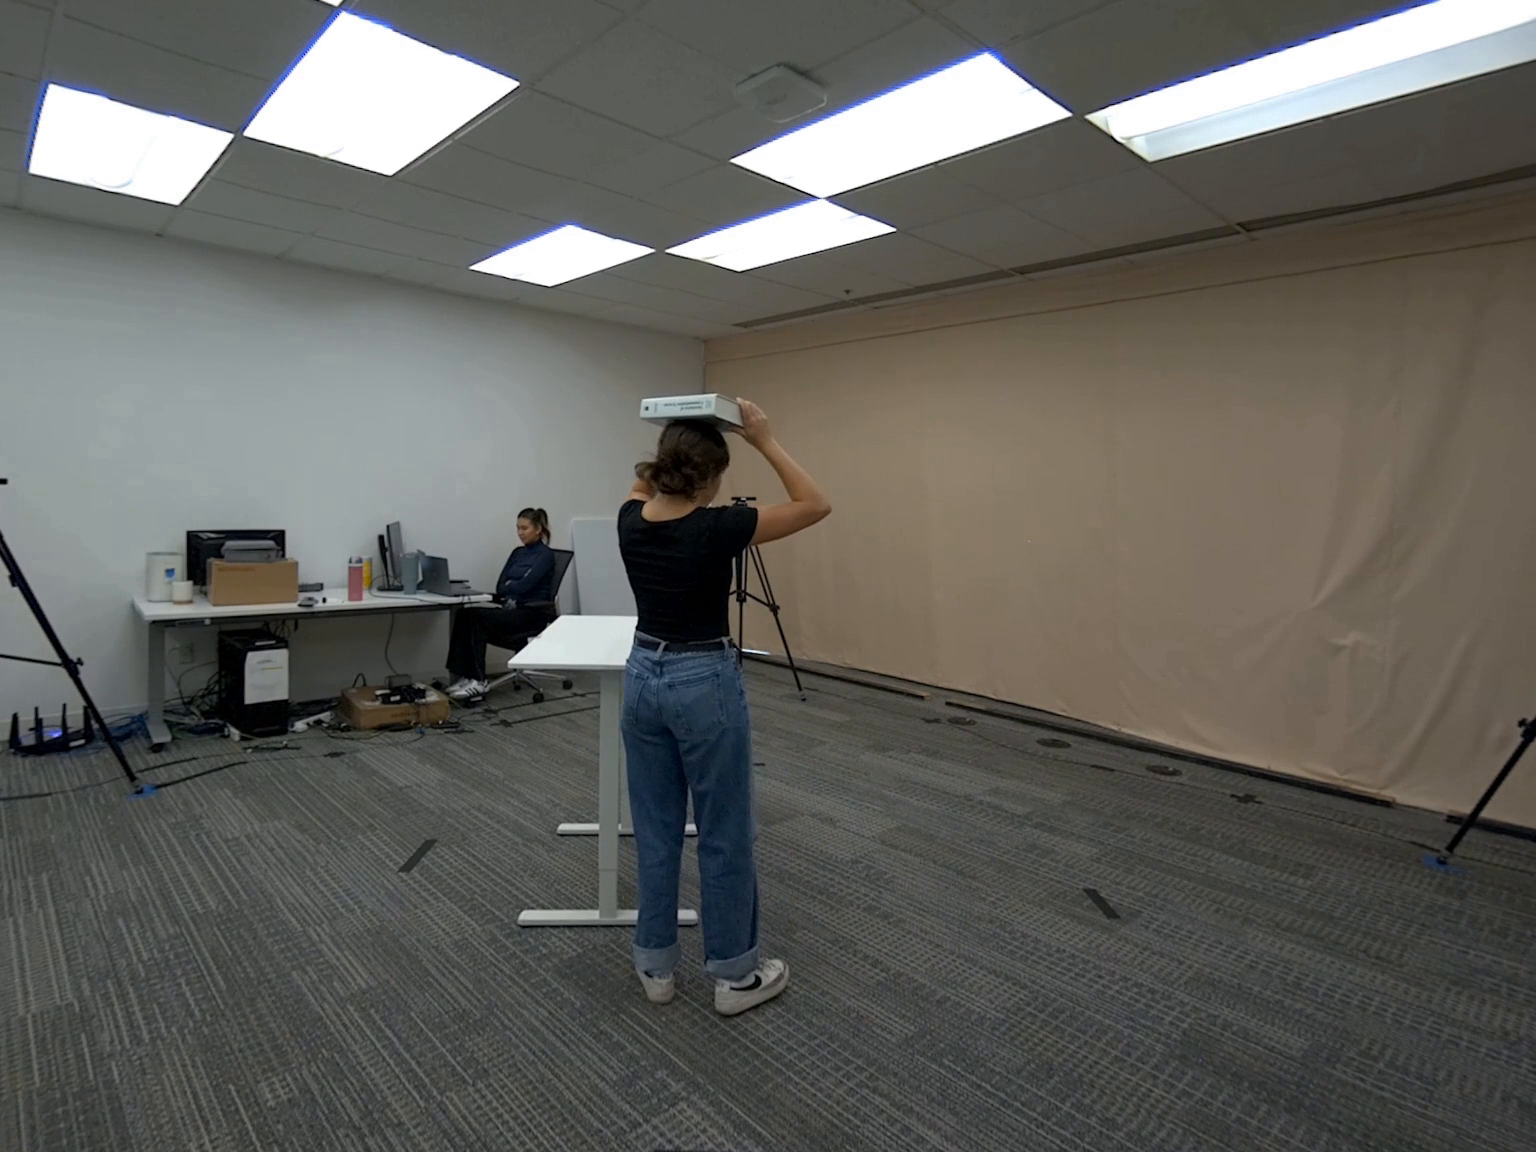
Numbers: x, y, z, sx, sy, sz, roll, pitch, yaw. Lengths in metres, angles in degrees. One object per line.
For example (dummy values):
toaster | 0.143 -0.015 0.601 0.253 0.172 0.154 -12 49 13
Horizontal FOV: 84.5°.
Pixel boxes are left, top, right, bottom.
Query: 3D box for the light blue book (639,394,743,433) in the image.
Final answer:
light blue book | -0.202 -0.440 2.294 0.267 0.059 0.186 4 -3 38
